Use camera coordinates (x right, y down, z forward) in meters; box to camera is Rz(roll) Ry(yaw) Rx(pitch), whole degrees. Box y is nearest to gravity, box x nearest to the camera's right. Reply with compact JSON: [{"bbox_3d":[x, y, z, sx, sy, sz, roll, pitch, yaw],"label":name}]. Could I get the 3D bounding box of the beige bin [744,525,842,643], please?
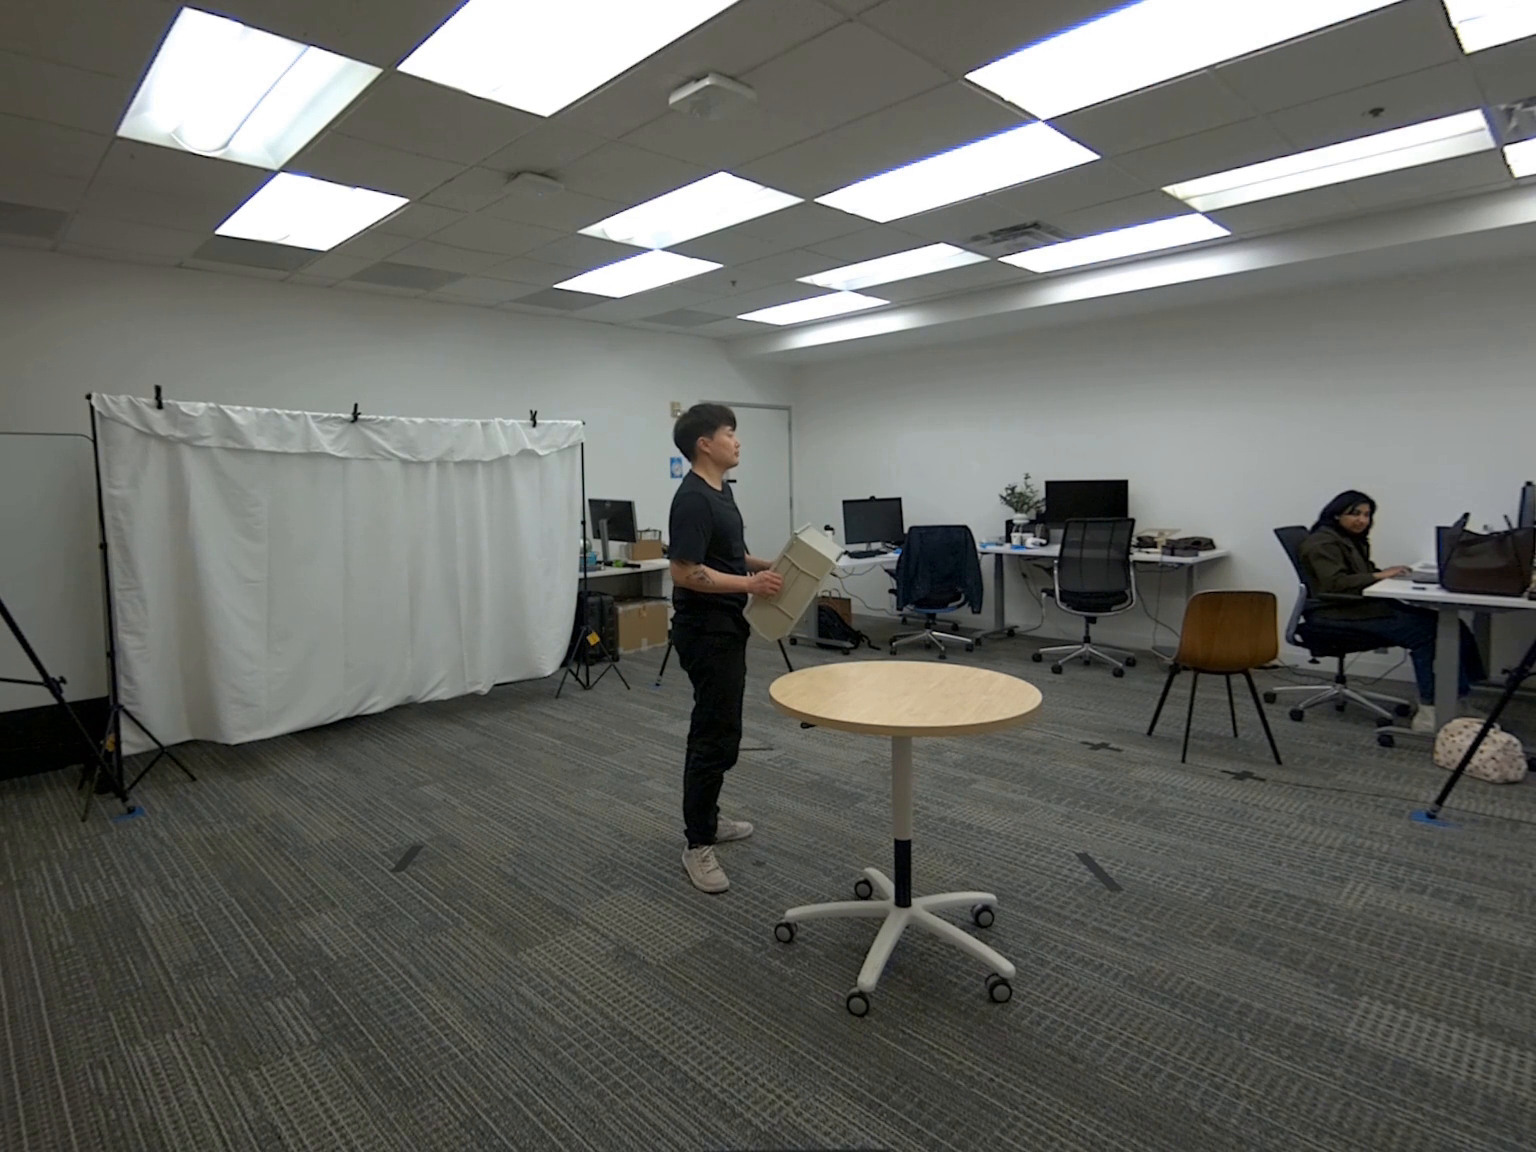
[{"bbox_3d":[0.096,0.026,3.146,0.191,0.376,0.420,35,12,5],"label":"beige bin"}]
